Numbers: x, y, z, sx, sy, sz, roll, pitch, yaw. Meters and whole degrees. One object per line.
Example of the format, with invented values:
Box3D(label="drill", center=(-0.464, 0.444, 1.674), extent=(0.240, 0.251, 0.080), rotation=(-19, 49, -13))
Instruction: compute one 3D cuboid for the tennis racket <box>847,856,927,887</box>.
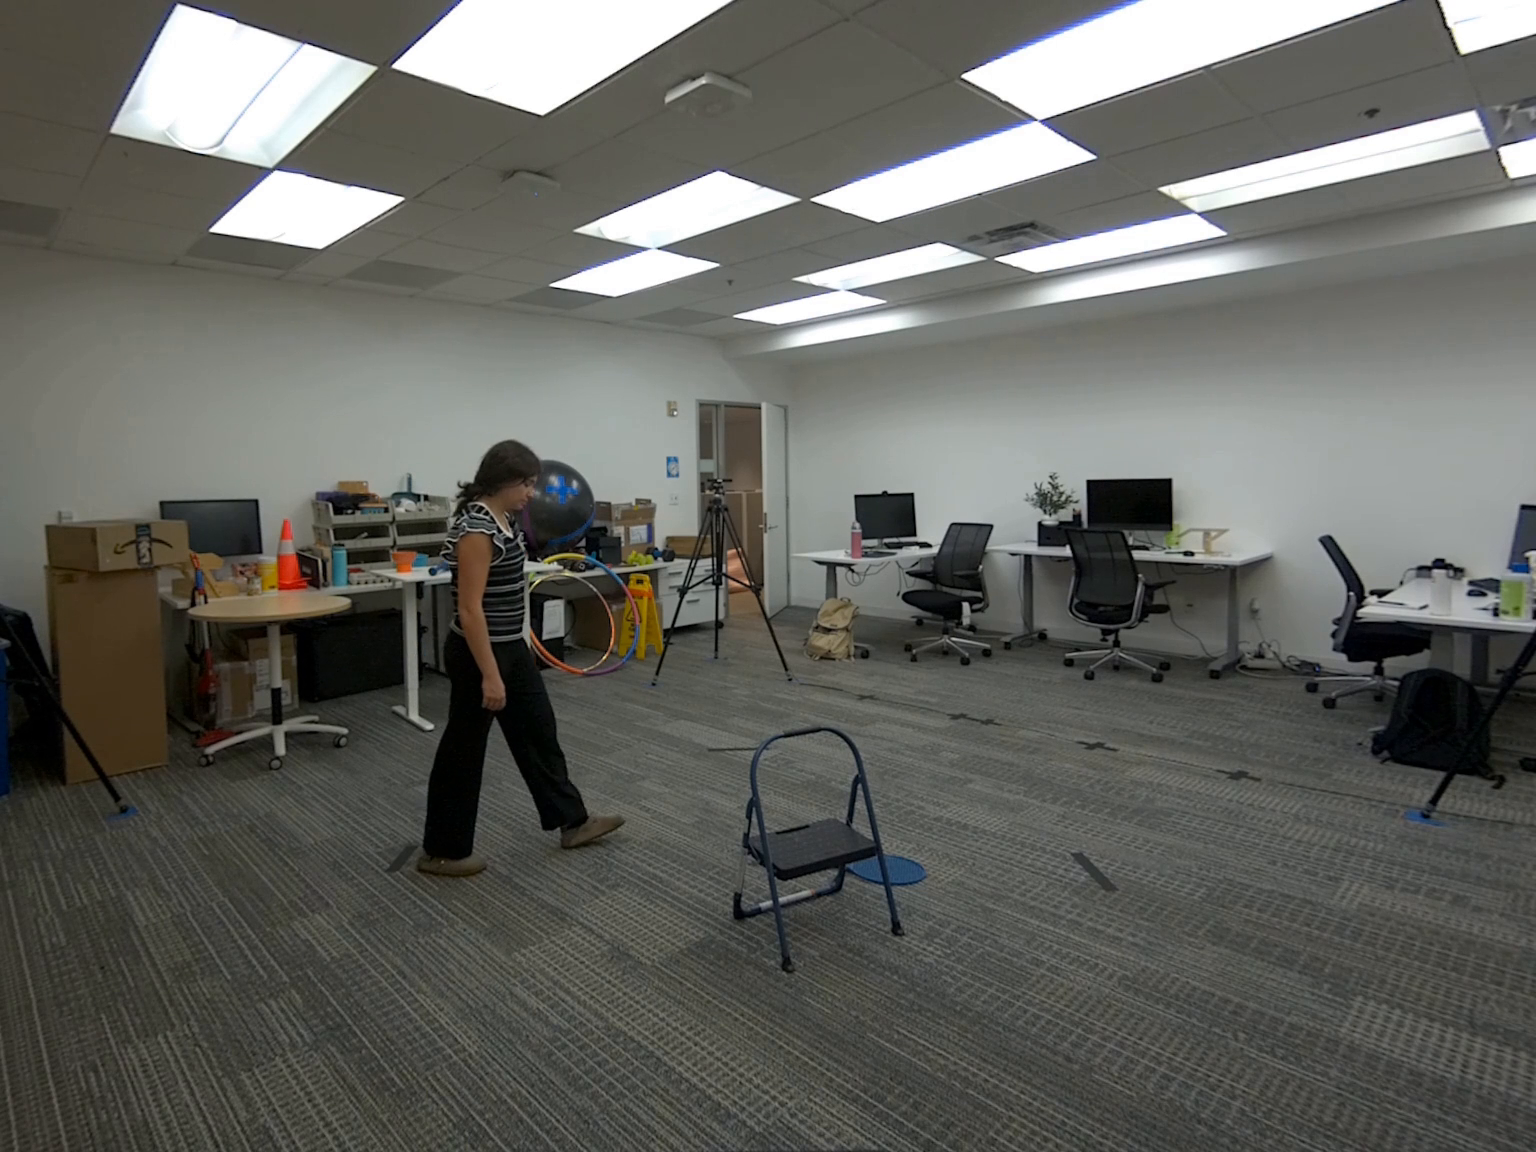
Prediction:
Box3D(label="tennis racket", center=(0.340, 1.025, 3.037), extent=(0.440, 0.031, 0.211), rotation=(3, 7, 16))
